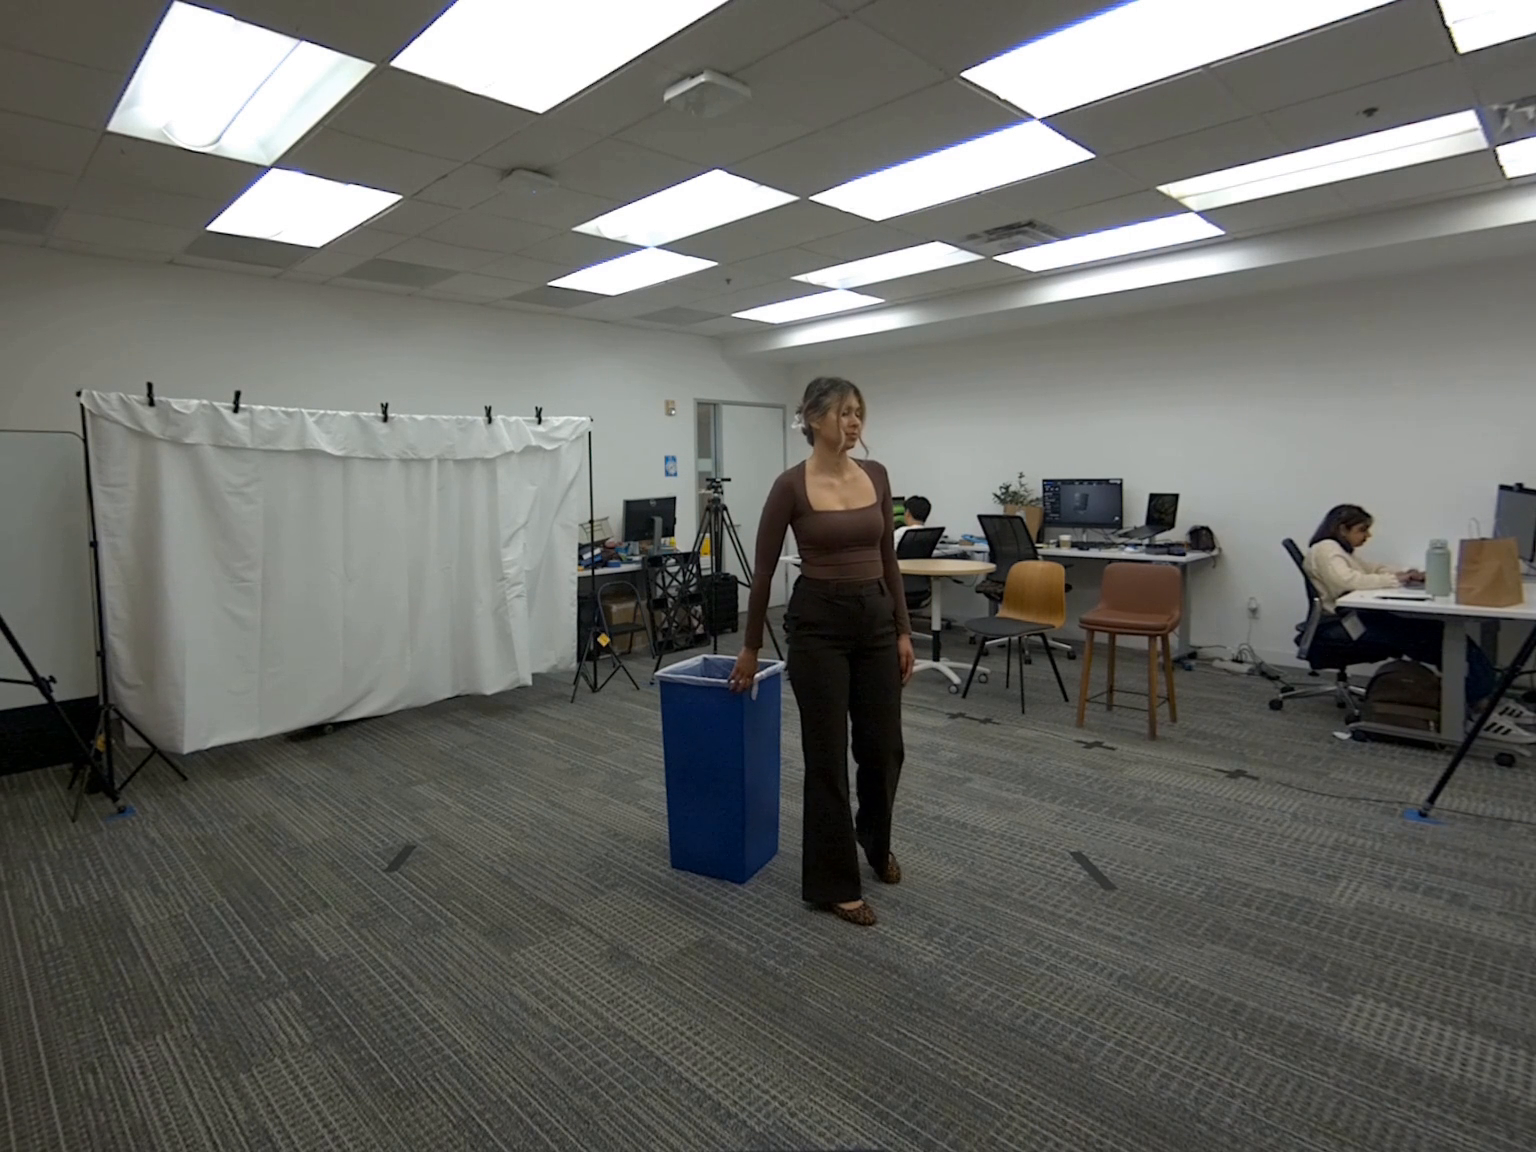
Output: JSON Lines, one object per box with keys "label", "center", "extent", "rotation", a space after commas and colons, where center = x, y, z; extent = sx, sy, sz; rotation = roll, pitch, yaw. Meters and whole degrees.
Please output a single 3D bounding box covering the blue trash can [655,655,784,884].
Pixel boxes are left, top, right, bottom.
{"label": "blue trash can", "center": [-0.158, 0.684, 3.115], "extent": [0.387, 0.712, 0.366], "rotation": [1, 3, 26]}
